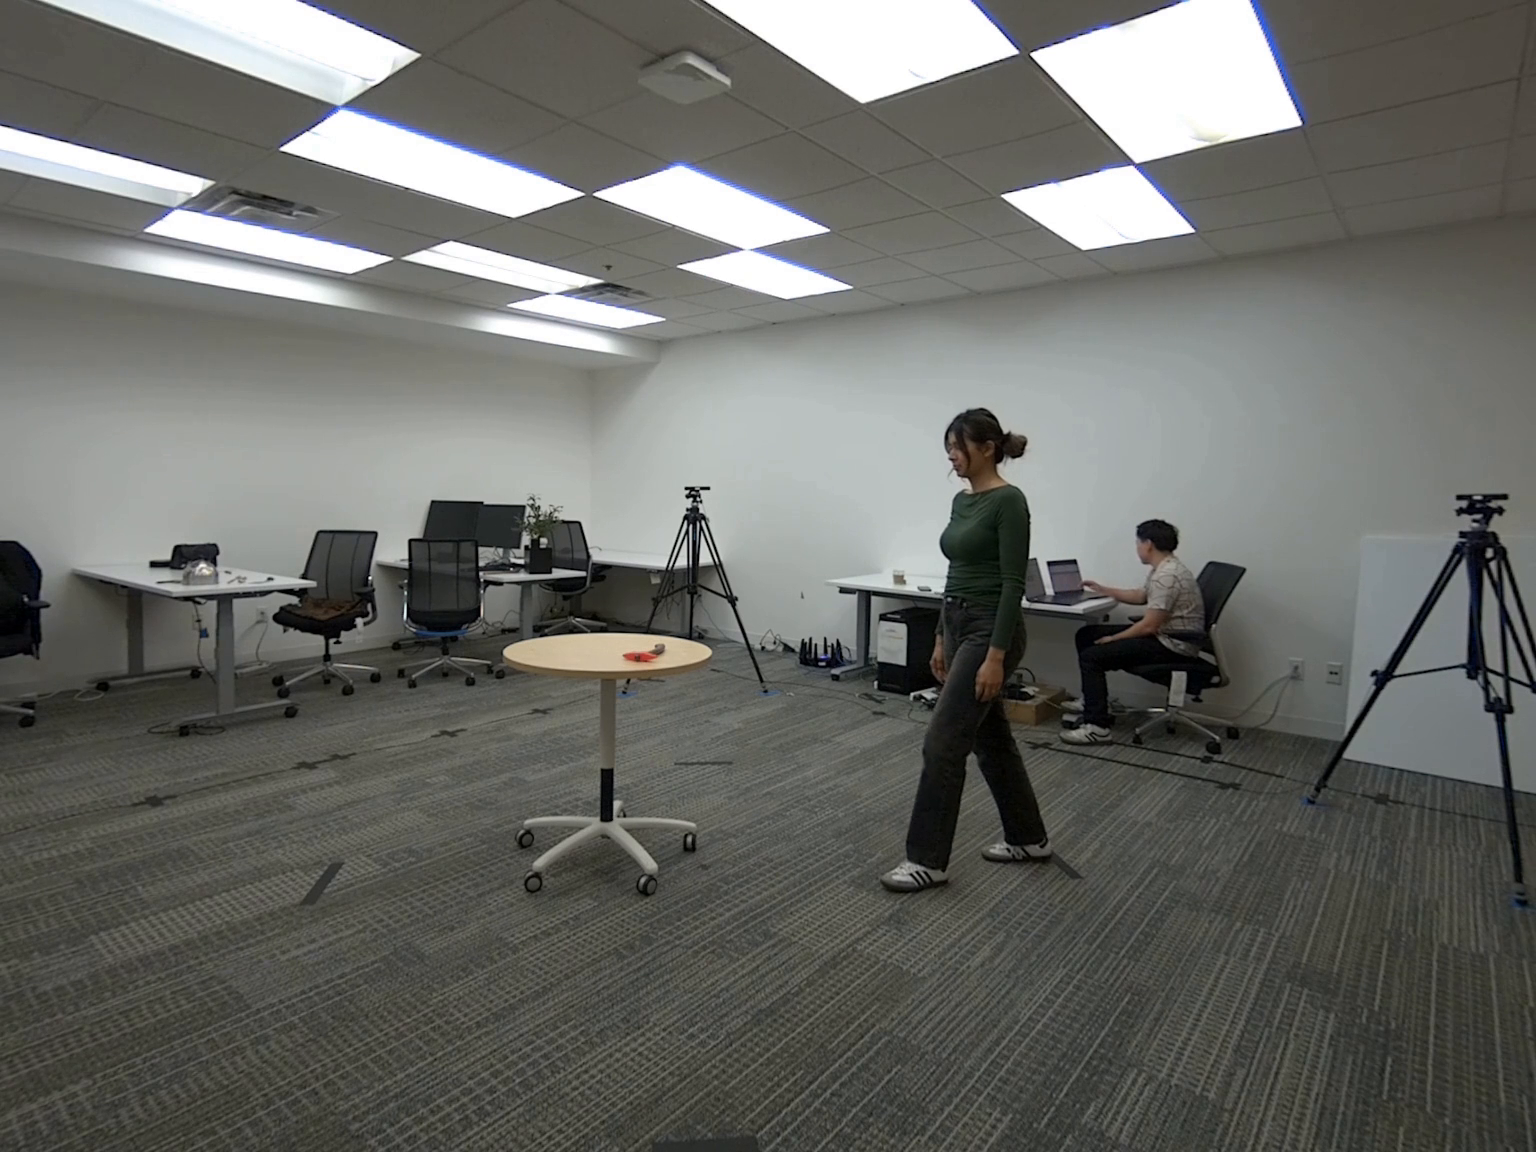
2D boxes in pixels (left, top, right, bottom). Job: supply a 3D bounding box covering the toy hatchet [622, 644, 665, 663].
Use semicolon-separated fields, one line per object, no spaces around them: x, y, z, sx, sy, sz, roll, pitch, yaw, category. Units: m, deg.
-0.459;0.275;3.076;0.131;0.029;0.270;-4;3;0;toy hatchet
